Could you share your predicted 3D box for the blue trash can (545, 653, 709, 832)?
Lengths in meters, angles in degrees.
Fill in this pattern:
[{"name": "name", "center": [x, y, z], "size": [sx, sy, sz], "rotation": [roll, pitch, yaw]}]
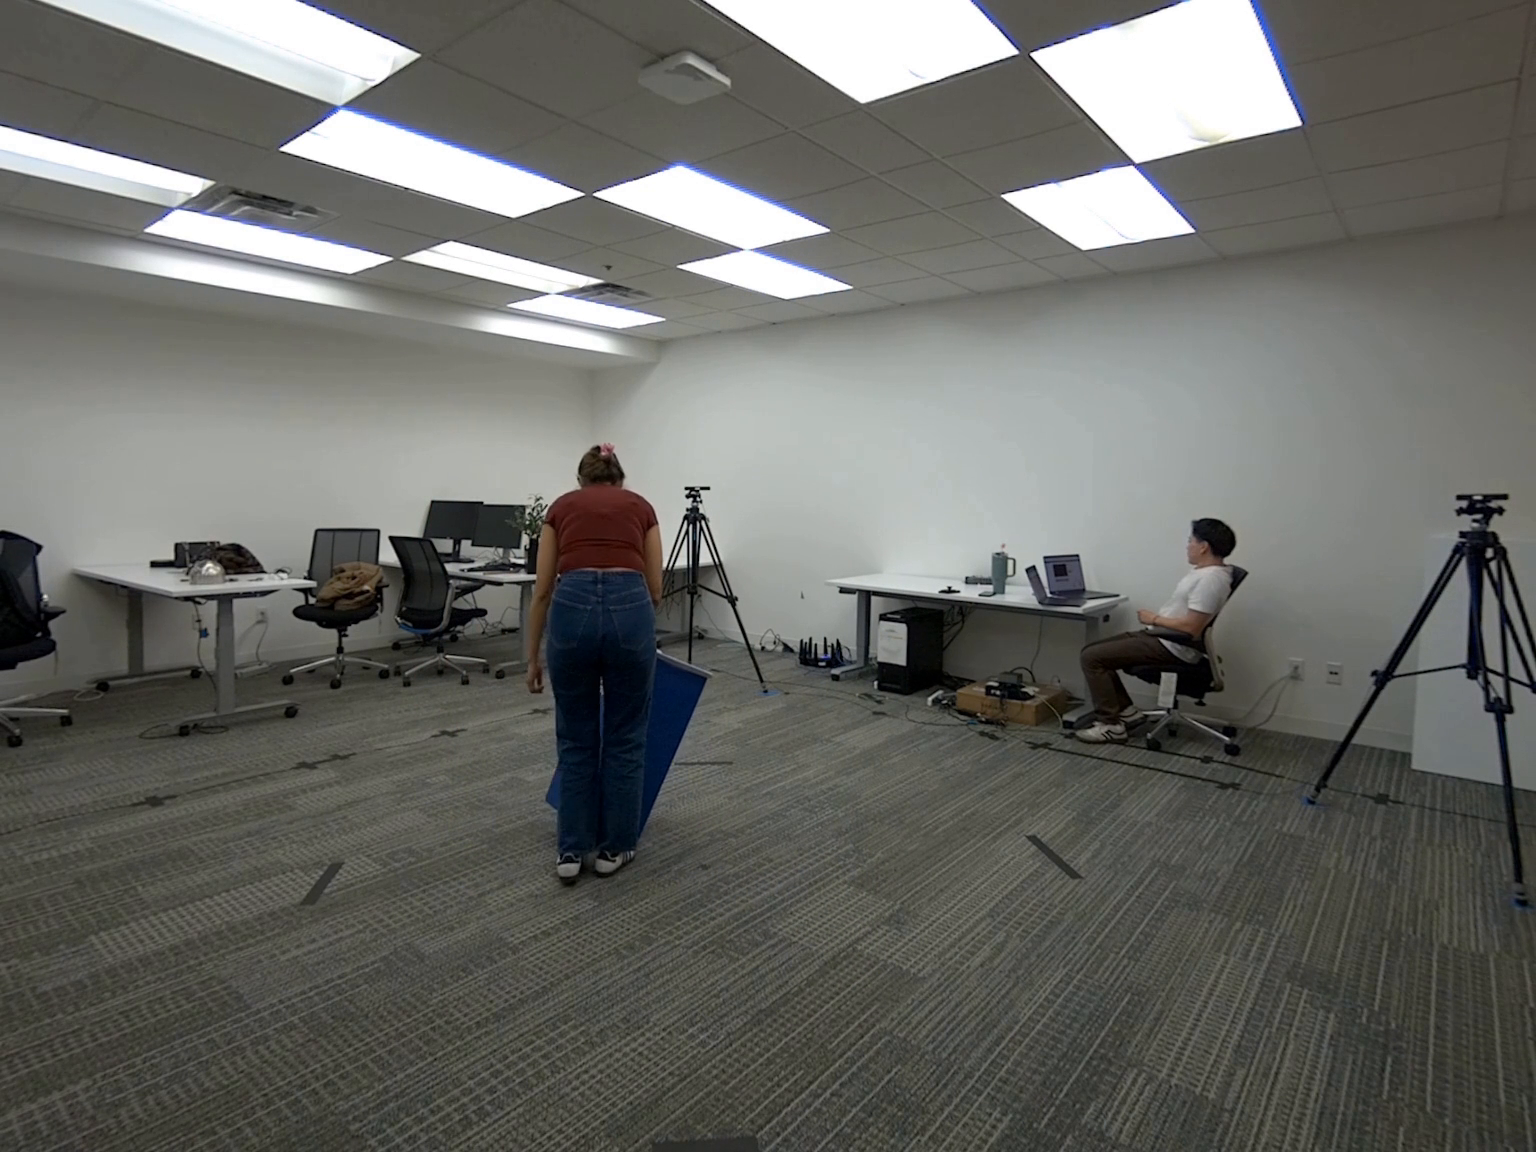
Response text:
[{"name": "blue trash can", "center": [-0.578, 0.640, 3.439], "size": [0.363, 0.717, 0.387], "rotation": [28, -12, -39]}]
